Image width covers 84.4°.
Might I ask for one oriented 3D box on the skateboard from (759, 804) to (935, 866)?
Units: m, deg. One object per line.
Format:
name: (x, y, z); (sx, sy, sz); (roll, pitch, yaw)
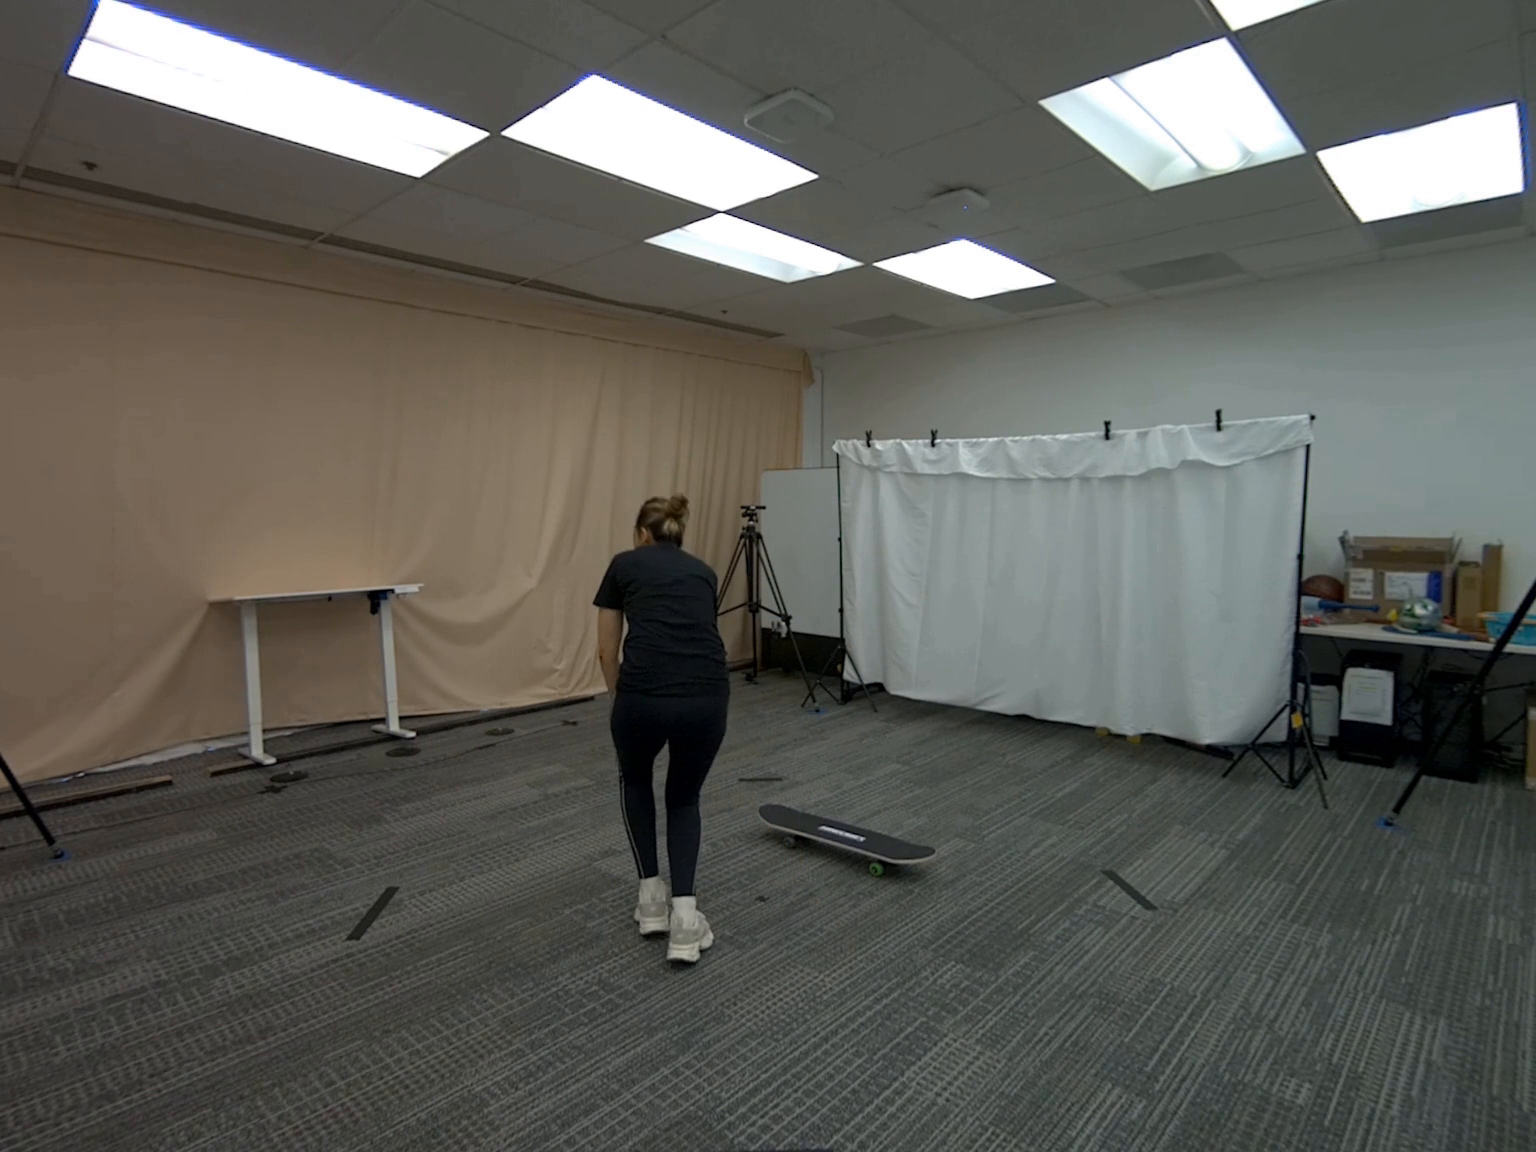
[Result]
skateboard: (0.301, 1.051, 3.347); (0.811, 0.110, 0.188); (4, 6, 38)
